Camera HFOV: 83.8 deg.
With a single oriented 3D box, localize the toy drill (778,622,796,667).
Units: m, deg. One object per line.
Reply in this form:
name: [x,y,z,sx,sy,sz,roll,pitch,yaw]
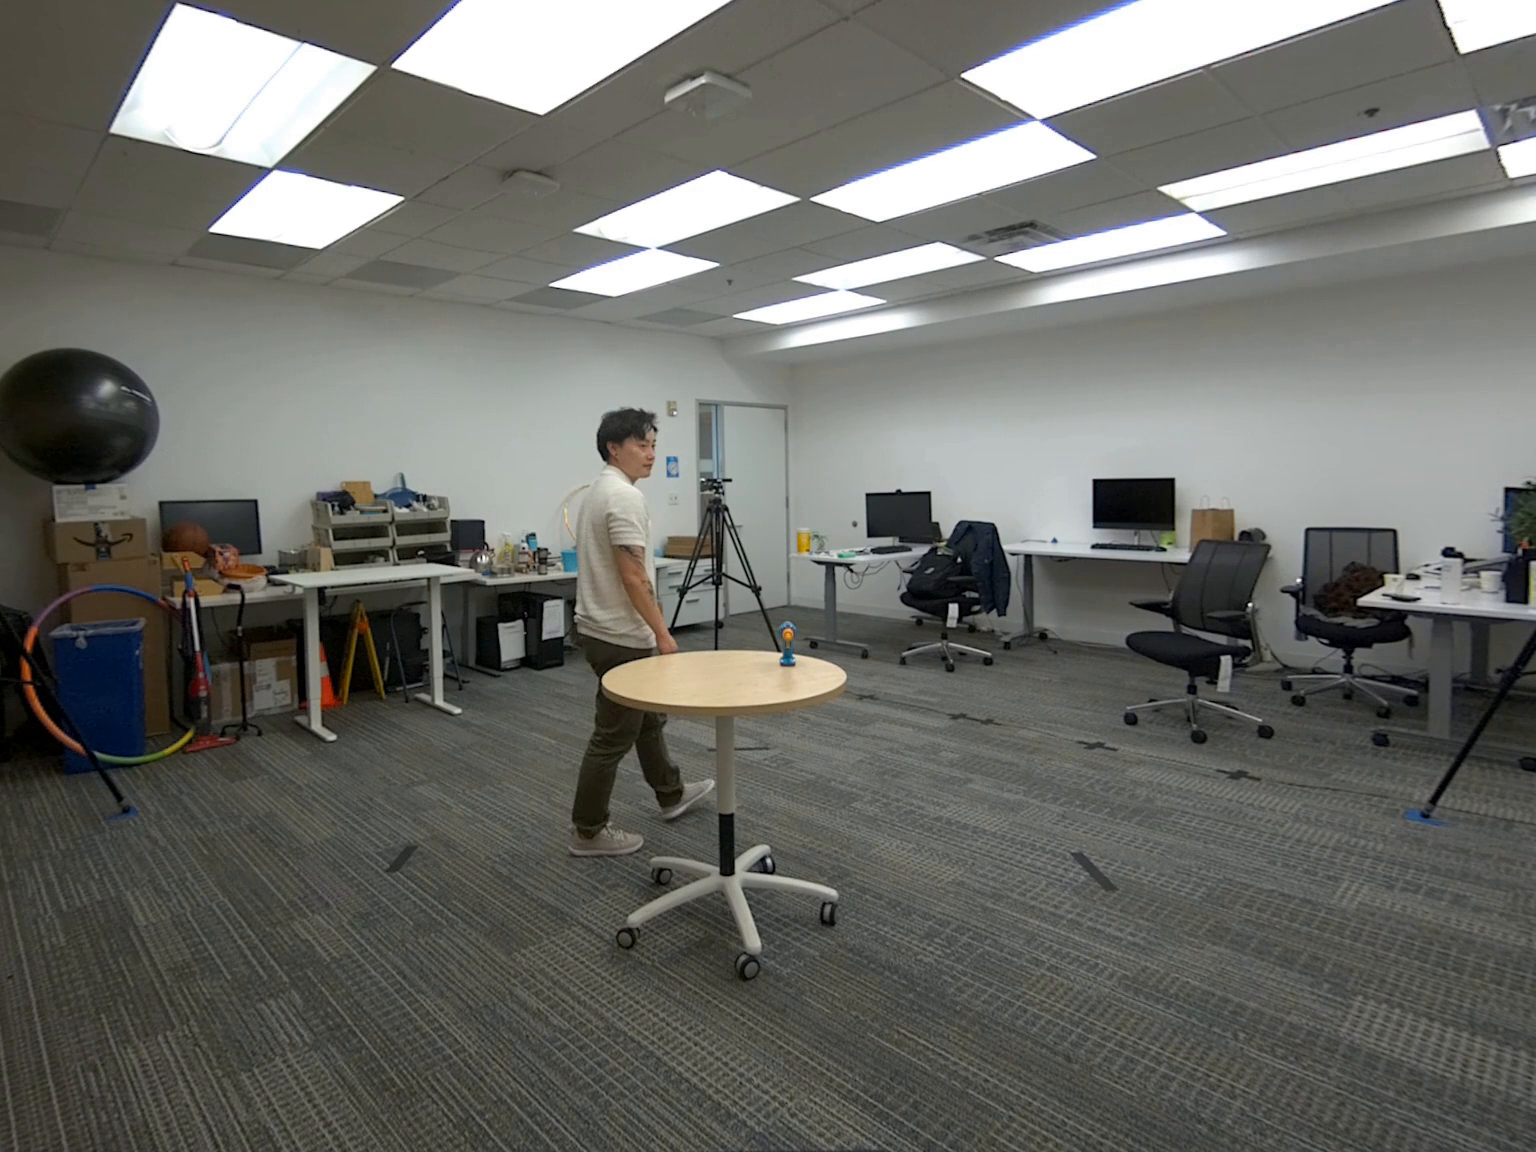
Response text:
toy drill: [0.066,0.222,2.777,0.061,0.145,0.170,0,5,-1]
